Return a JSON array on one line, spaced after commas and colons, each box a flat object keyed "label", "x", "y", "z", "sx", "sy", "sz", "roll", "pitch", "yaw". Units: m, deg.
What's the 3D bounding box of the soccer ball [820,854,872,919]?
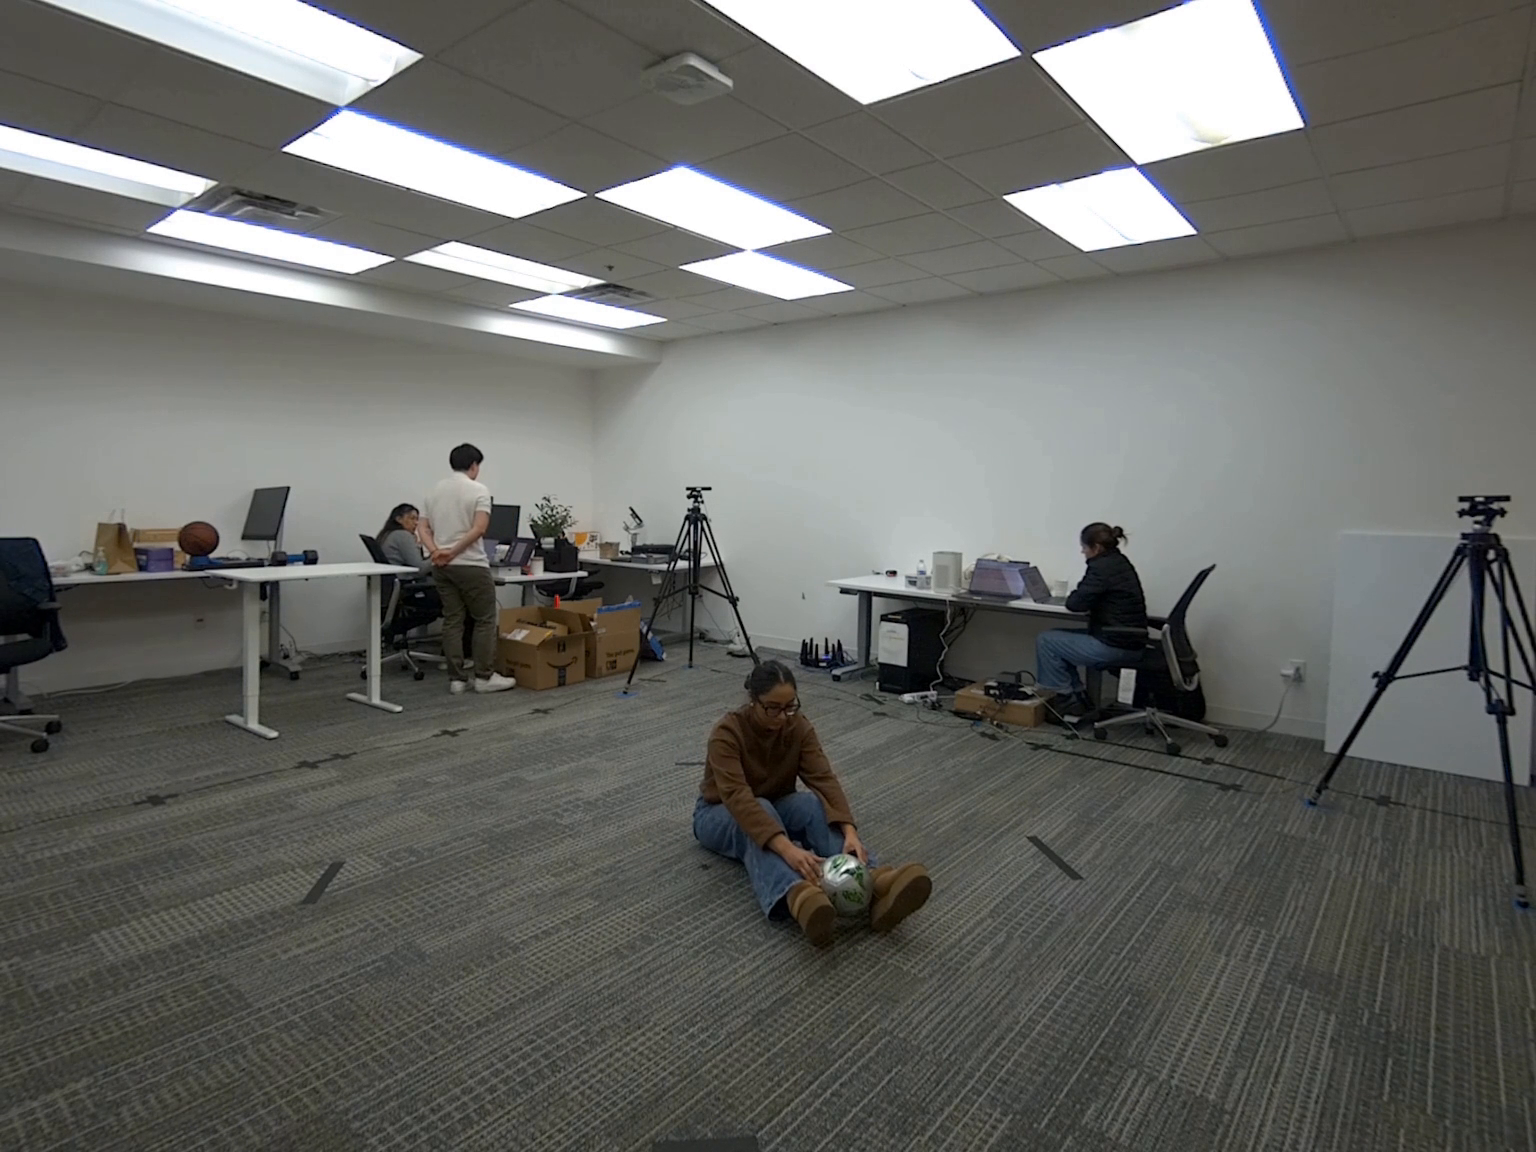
[{"label": "soccer ball", "x": 0.230, "y": 0.986, "z": 2.690, "sx": 0.187, "sy": 0.187, "sz": 0.188, "roll": 1, "pitch": 4, "yaw": -2}]
